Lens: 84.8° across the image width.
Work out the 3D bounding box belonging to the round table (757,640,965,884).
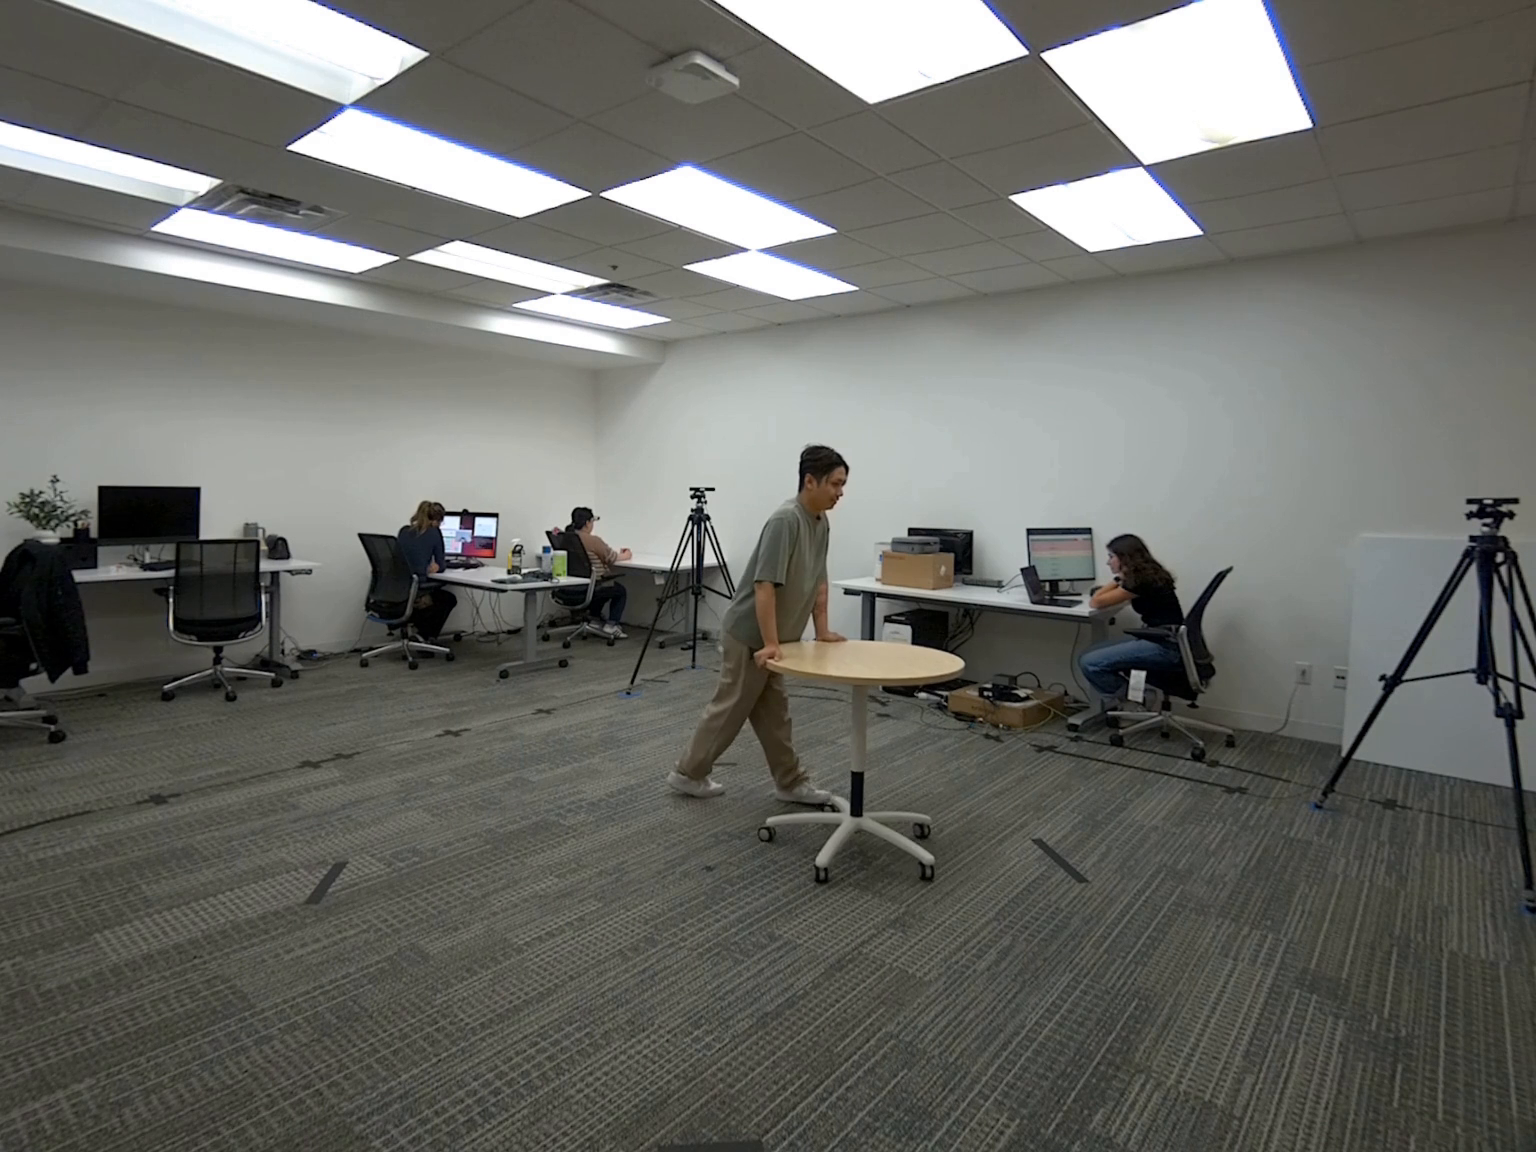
[{"bbox_3d":[0.318,0.682,3.268,0.784,0.784,0.789,1,4,-2],"label":"round table"}]
